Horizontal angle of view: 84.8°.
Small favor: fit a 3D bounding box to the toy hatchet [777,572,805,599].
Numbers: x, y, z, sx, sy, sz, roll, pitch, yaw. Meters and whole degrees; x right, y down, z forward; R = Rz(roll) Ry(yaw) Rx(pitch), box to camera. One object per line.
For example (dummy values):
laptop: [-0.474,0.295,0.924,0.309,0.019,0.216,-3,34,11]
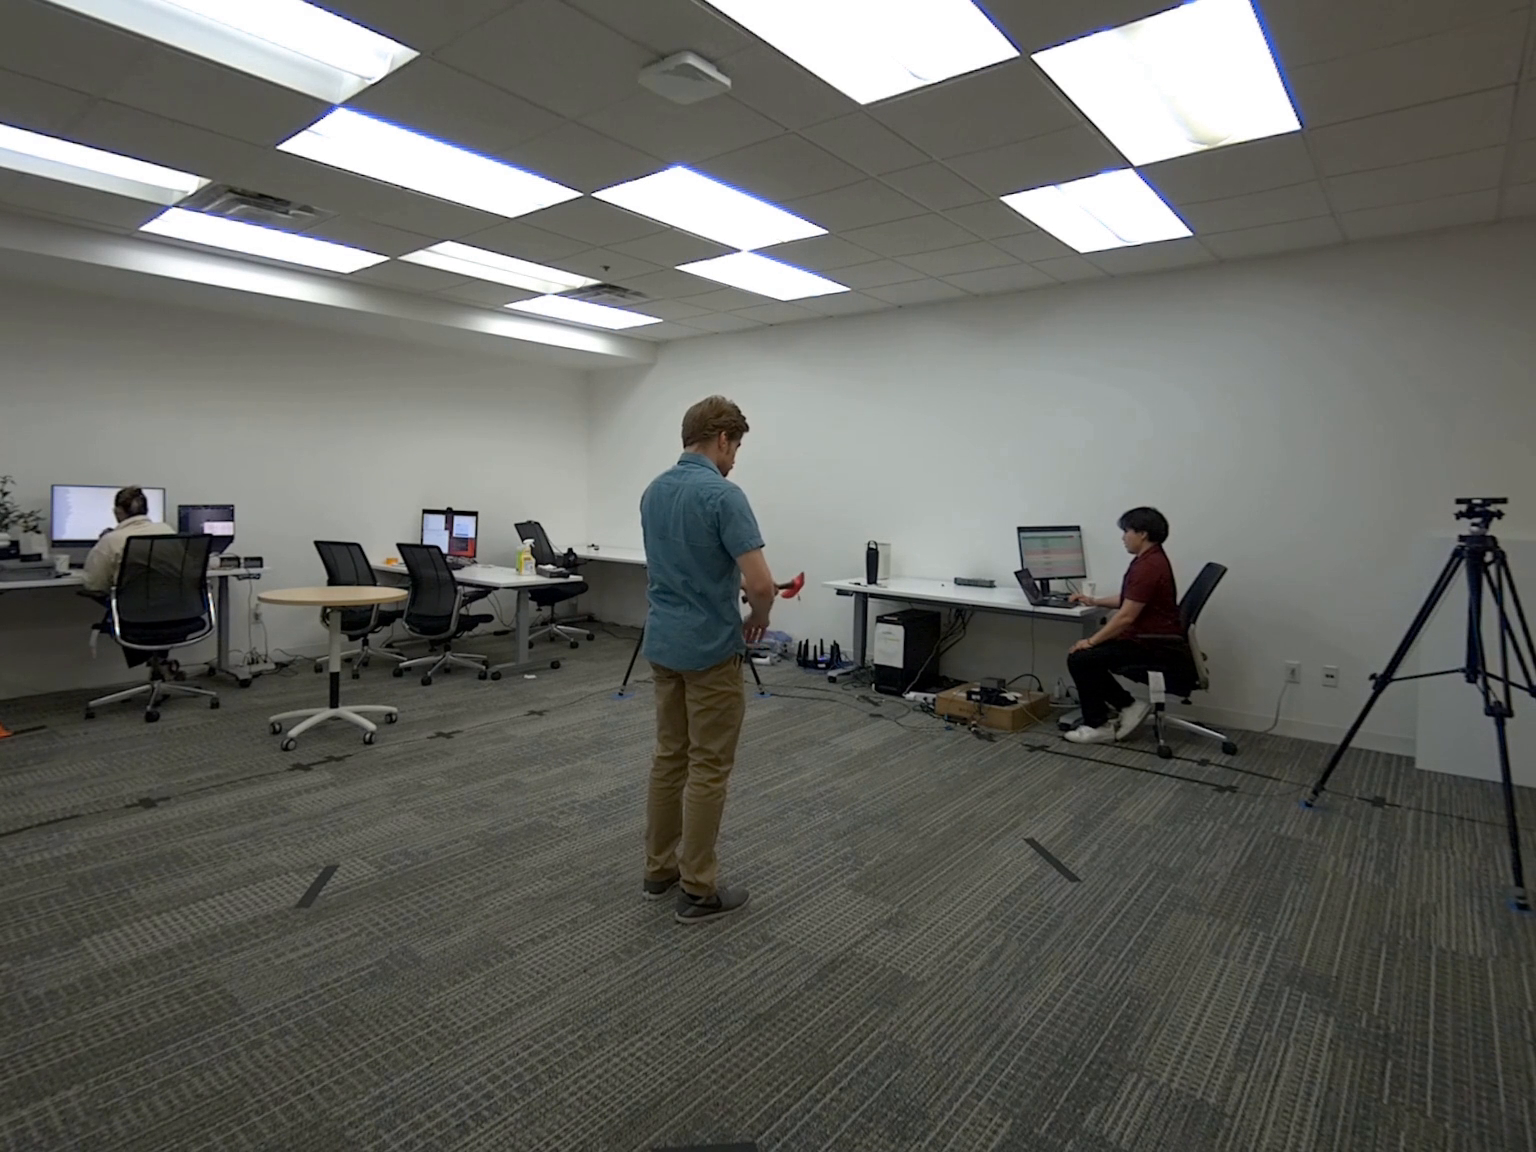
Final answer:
toy hatchet: [0.005,0.064,3.162,0.267,0.127,0.031,-21,54,-18]
